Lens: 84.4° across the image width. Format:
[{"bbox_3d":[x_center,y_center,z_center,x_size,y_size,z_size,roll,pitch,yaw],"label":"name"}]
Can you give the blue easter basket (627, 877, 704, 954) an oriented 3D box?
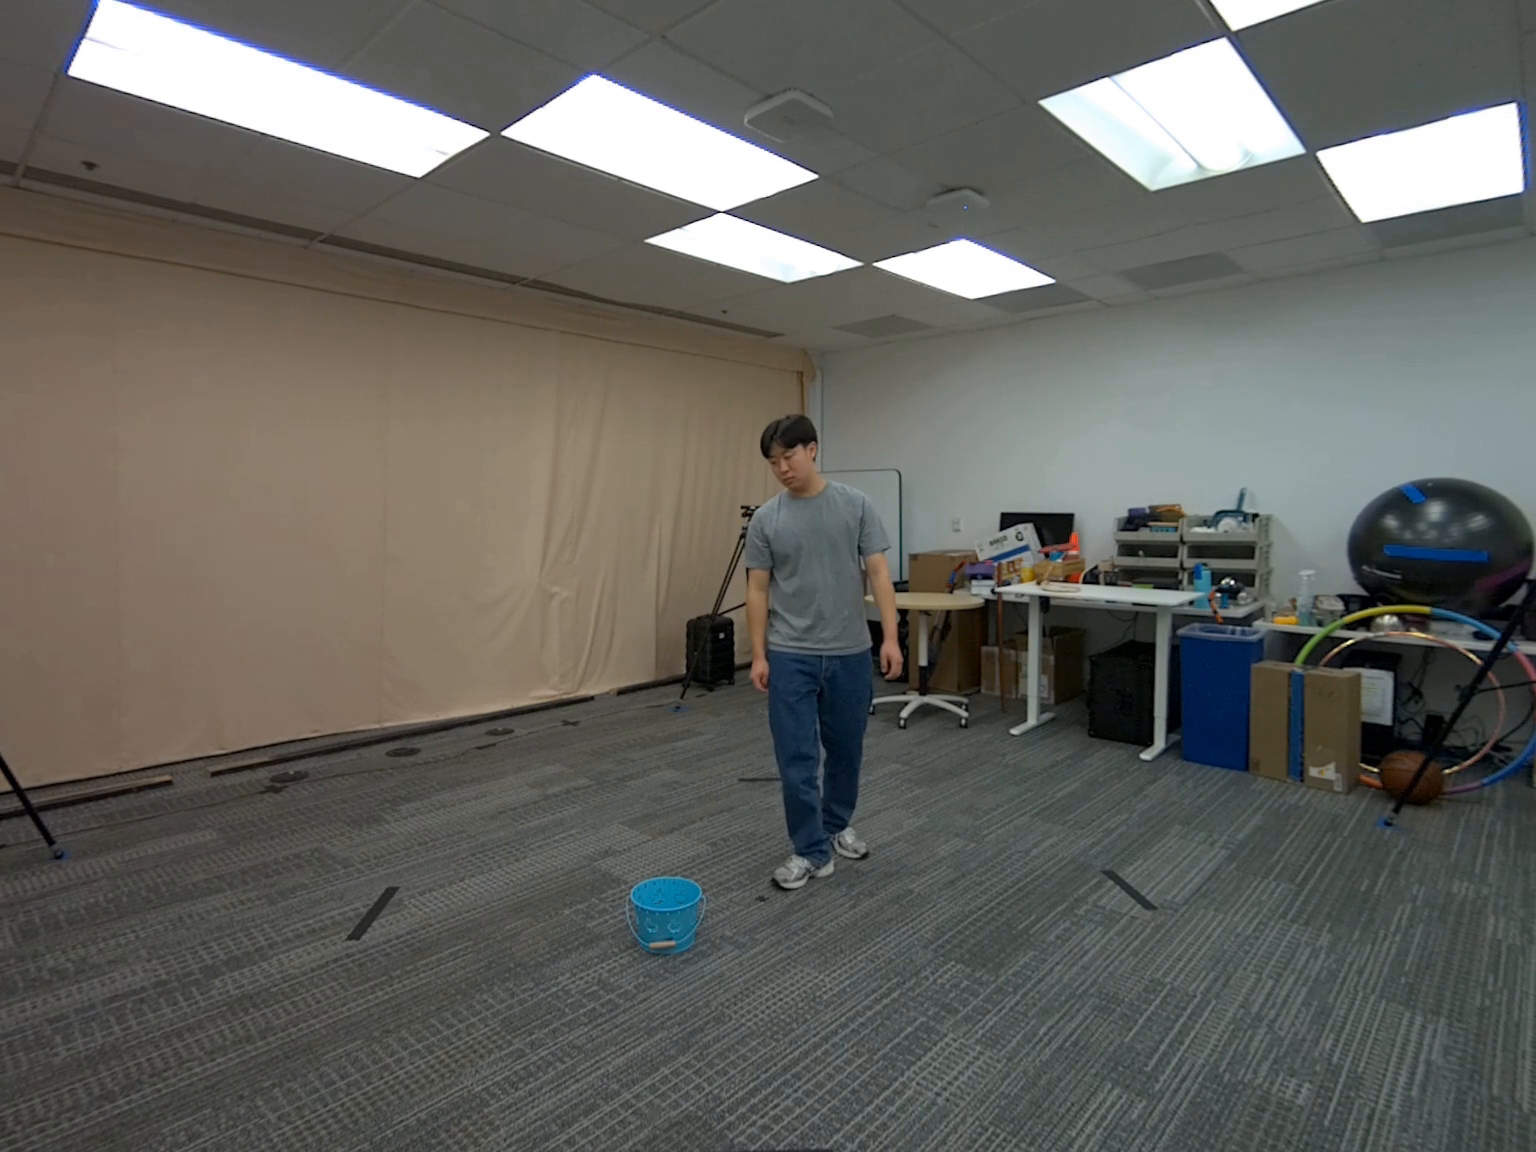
[{"bbox_3d":[-0.329,1.093,2.698,0.243,0.155,0.244,0,3,-2],"label":"blue easter basket"}]
